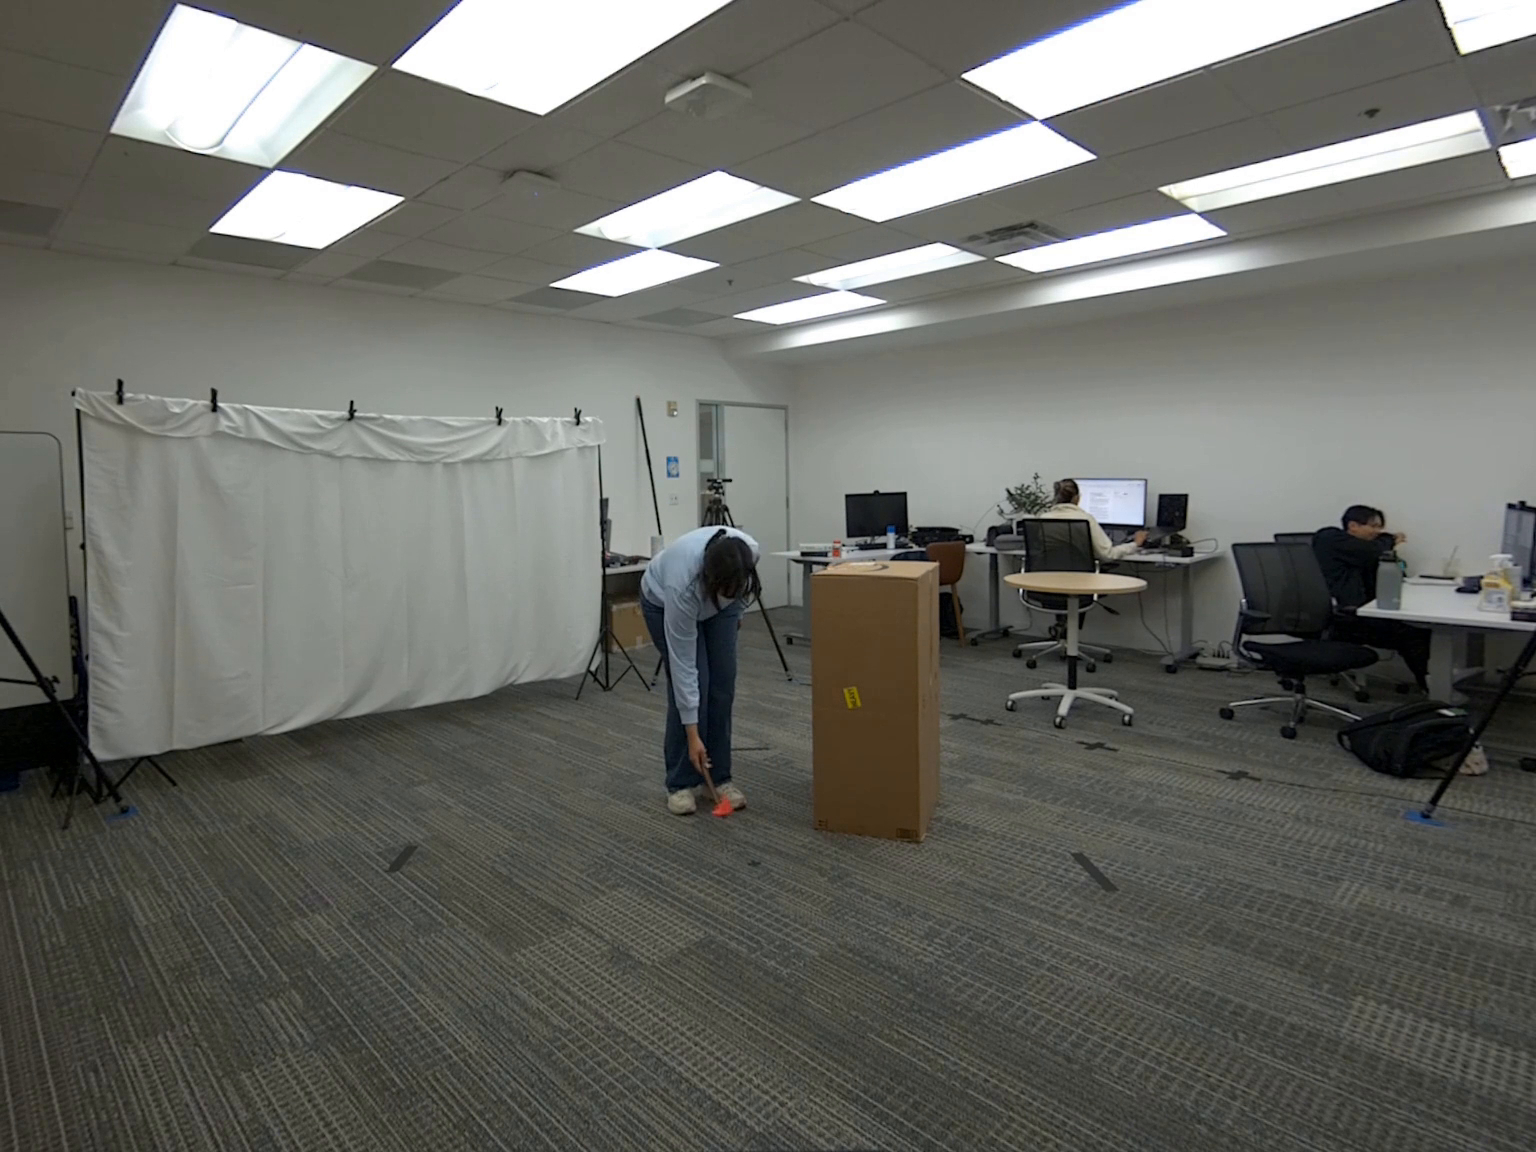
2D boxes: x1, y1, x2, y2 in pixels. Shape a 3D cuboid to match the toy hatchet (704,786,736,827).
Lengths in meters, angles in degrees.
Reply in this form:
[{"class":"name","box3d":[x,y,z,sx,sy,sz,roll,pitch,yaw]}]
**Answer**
[{"class":"toy hatchet","box3d":[-0.197,0.814,3.314,0.030,0.279,0.126,-30,-42,22]}]
